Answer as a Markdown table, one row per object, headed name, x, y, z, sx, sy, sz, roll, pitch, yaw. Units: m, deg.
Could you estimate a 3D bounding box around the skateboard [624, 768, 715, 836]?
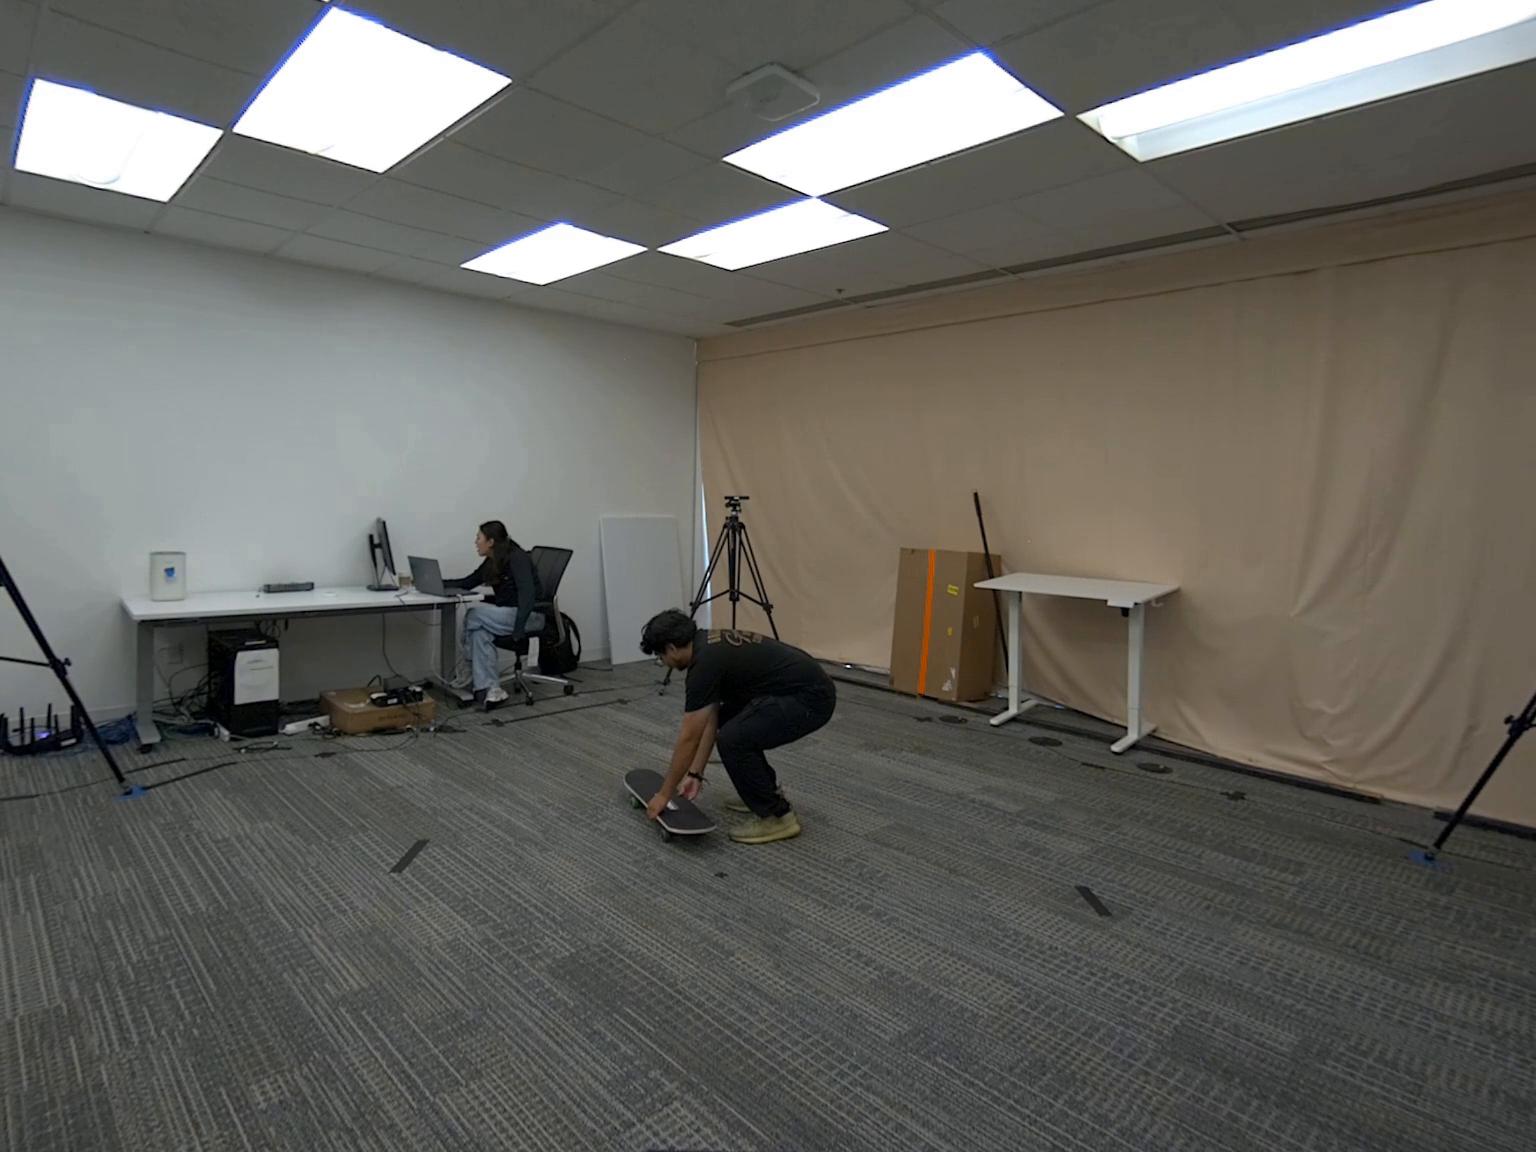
| name | x | y | z | sx | sy | sz | roll | pitch | yaw |
| --- | --- | --- | --- | --- | --- | --- | --- | --- | --- |
| skateboard | -0.444 | 0.989 | 3.602 | 0.190 | 0.110 | 0.802 | -1 | 6 | -25 |
